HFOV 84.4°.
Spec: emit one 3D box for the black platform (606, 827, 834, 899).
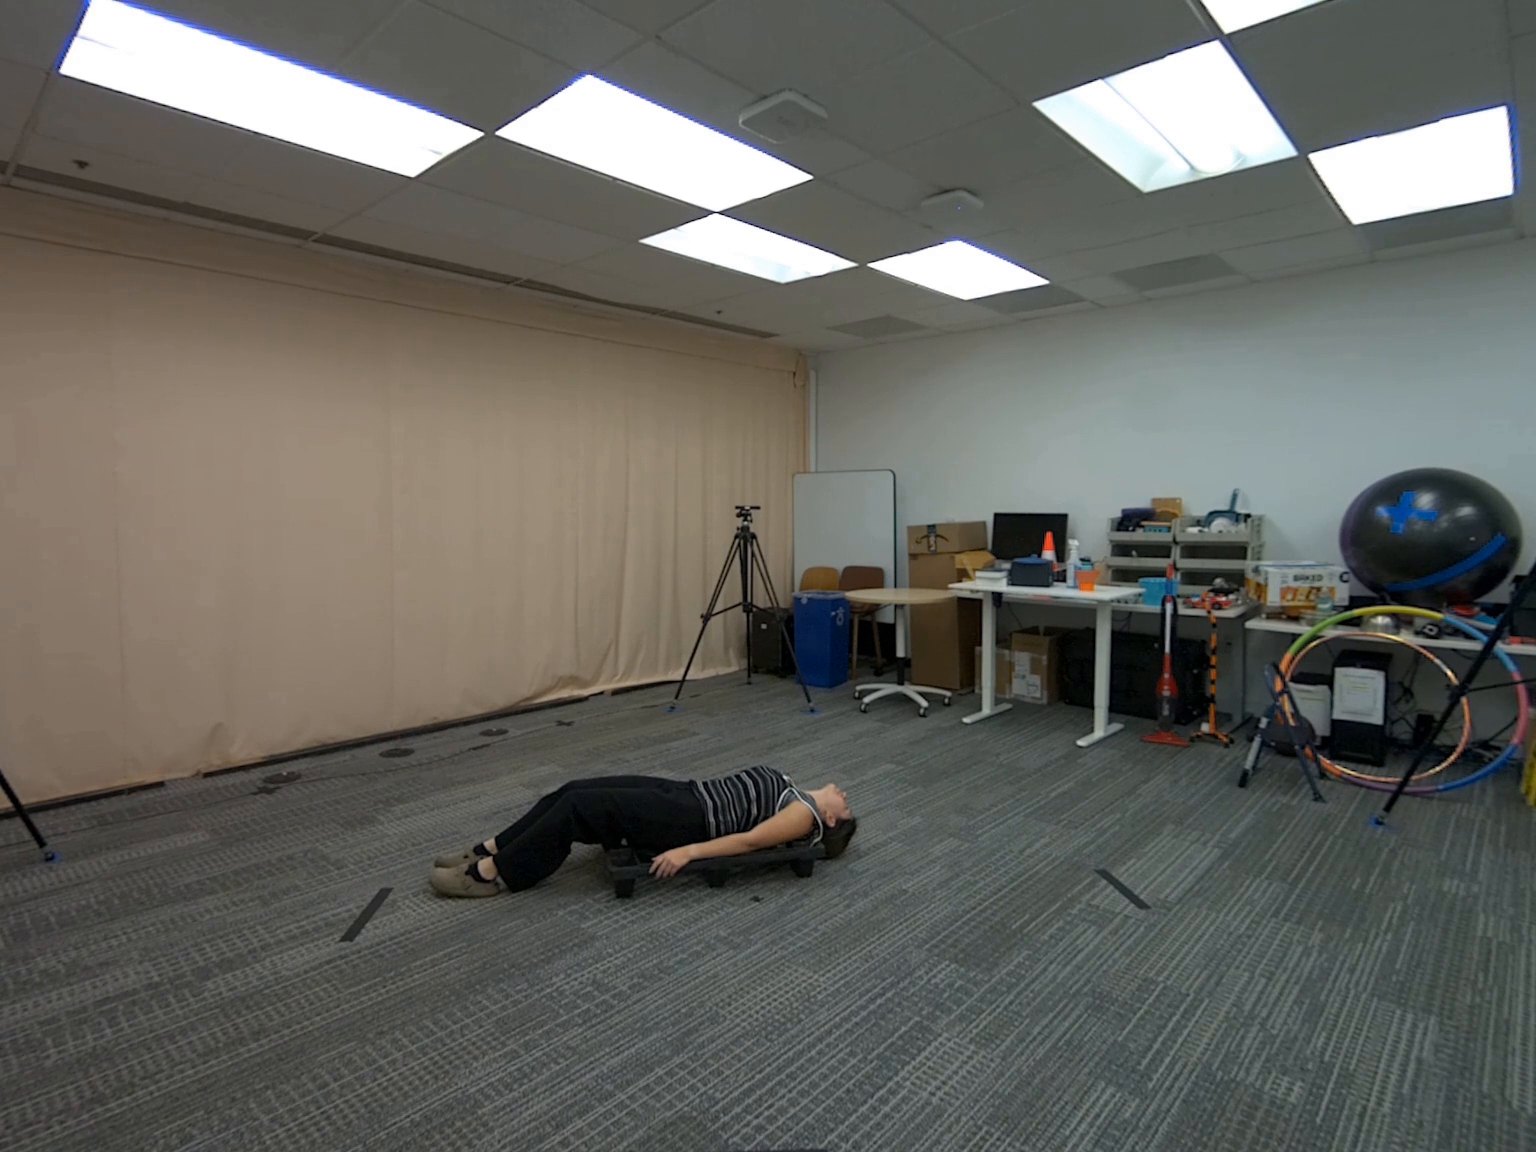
[{"bbox_3d":[-0.264,1.054,3.303,0.794,0.143,0.616,-2,6,-15],"label":"black platform"}]
